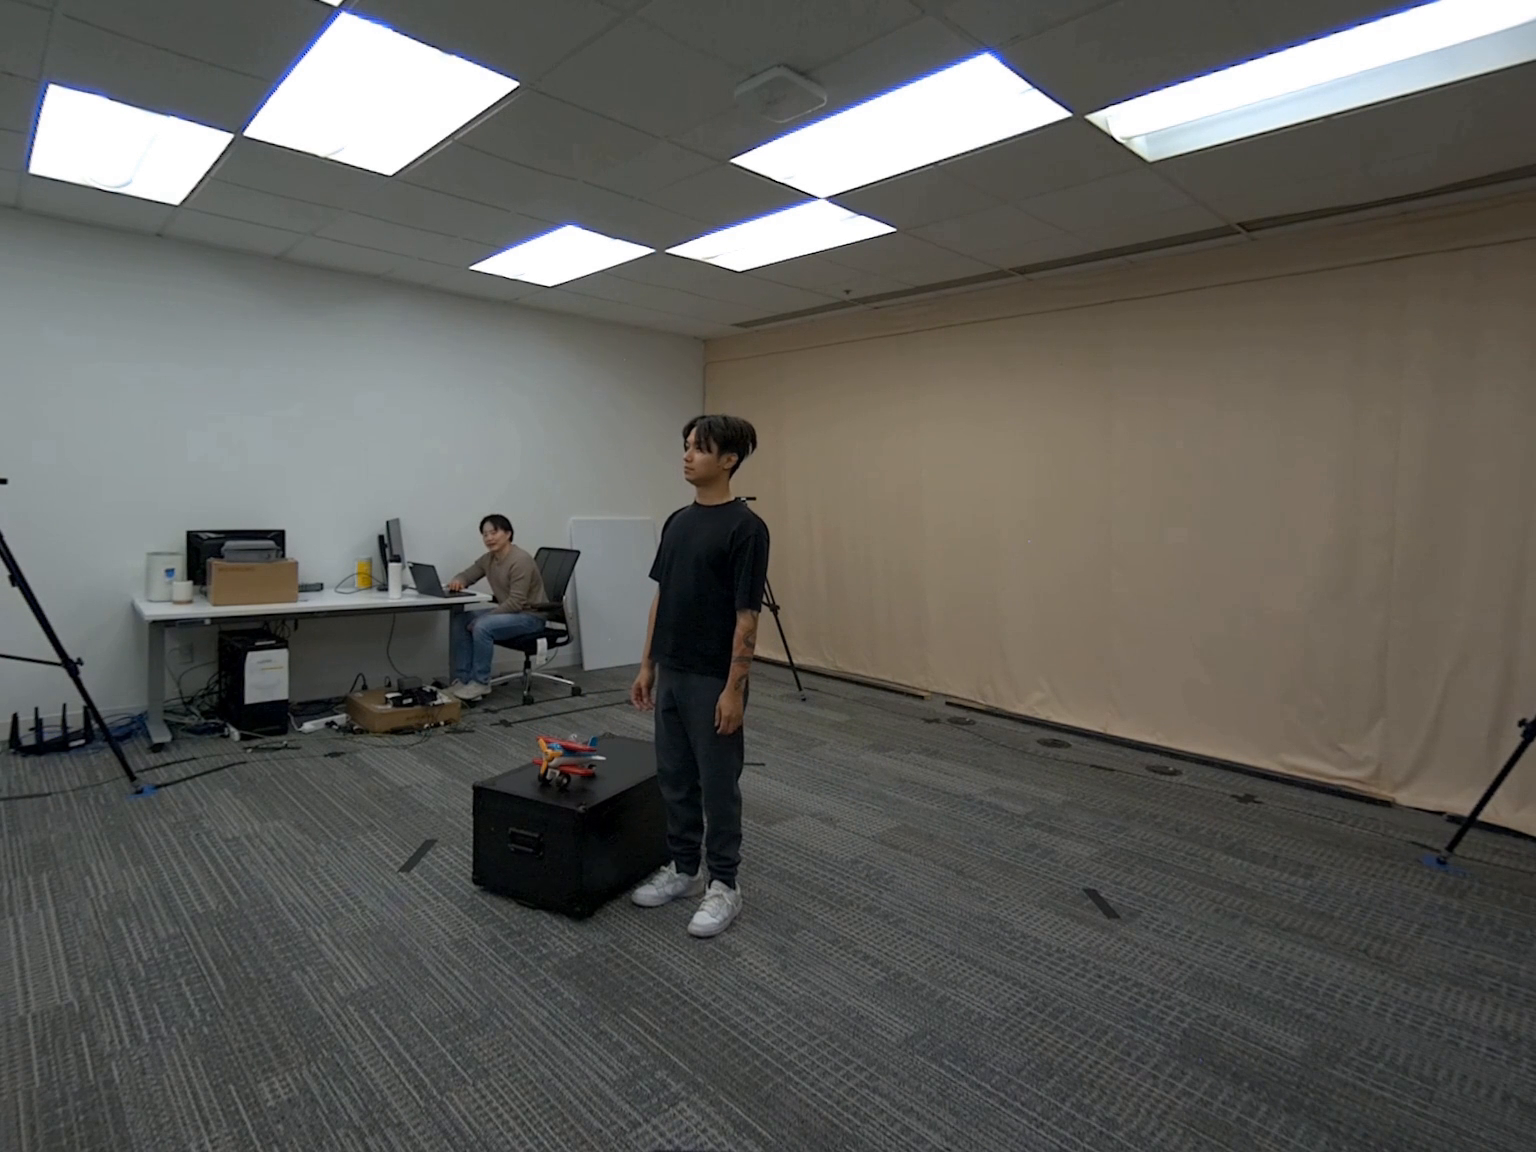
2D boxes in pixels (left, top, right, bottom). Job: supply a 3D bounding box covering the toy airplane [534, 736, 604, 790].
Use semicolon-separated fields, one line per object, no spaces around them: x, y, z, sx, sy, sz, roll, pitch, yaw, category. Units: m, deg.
-0.723;0.645;3.015;0.252;0.156;0.259;2;6;3;toy airplane
